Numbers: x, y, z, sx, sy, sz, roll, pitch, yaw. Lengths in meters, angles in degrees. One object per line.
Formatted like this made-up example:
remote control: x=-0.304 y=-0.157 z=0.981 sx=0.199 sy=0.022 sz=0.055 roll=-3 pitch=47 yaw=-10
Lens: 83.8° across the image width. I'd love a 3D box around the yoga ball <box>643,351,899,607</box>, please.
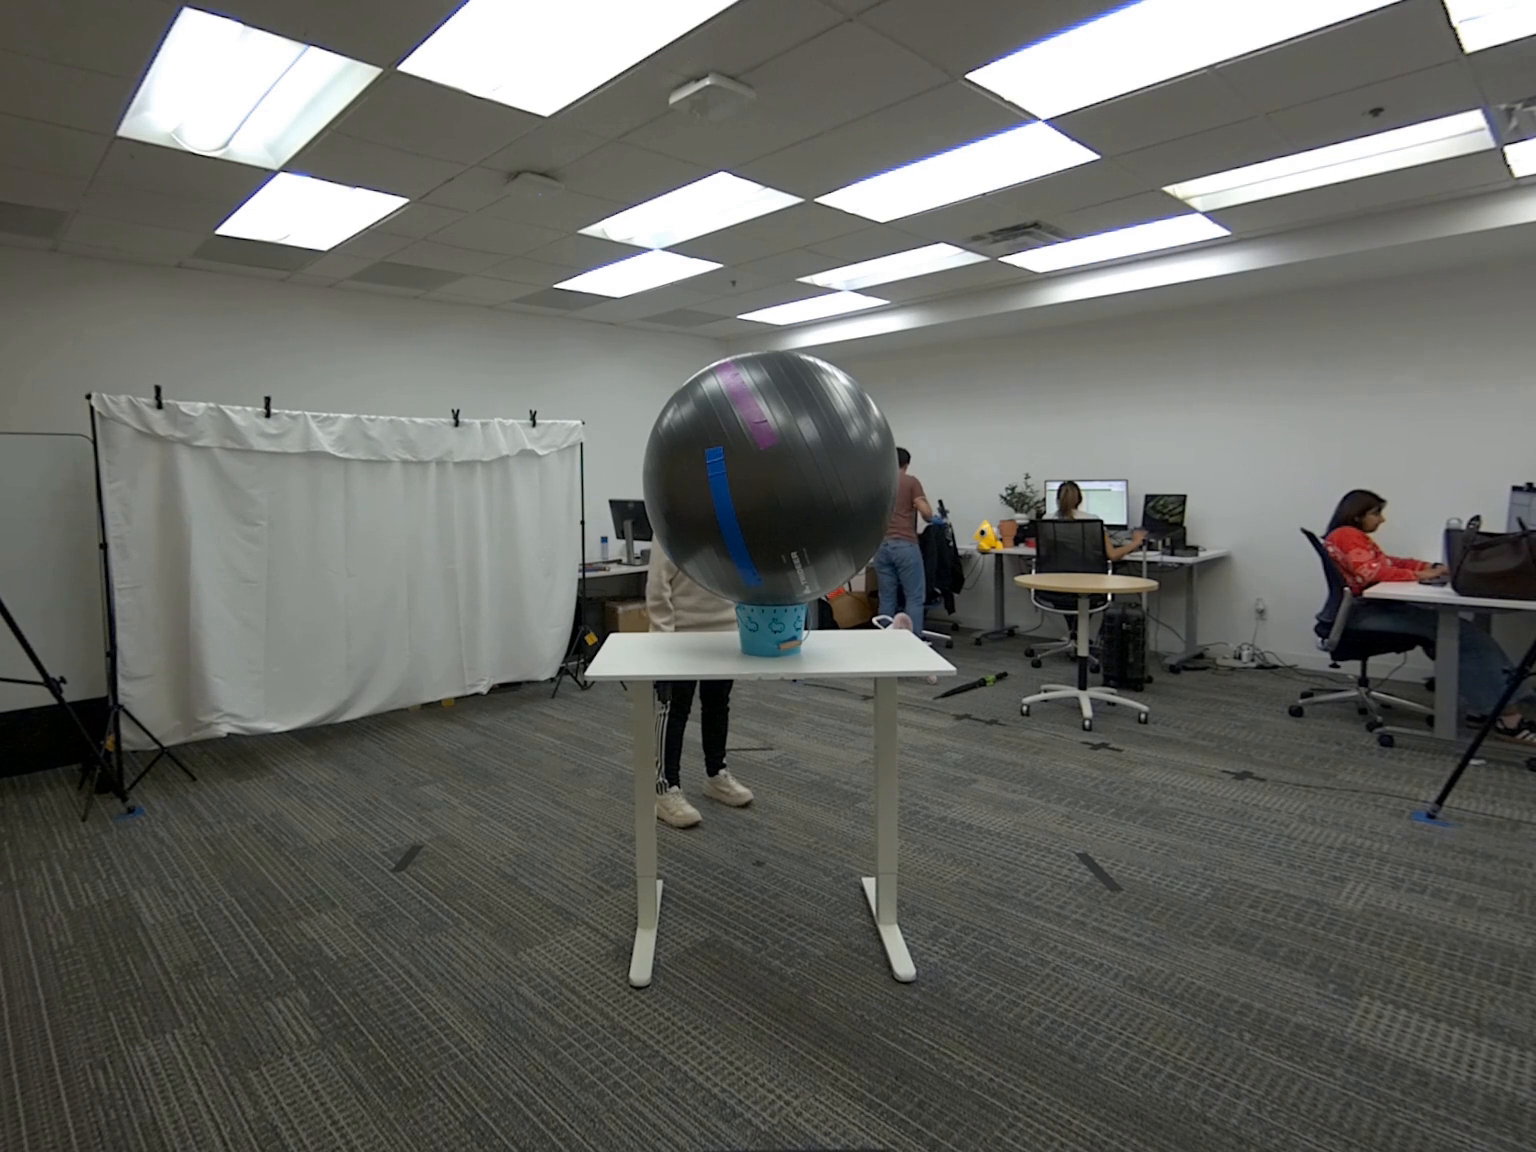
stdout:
yoga ball: x=0.007 y=-0.282 z=2.547 sx=0.757 sy=0.755 sz=0.762 roll=-1 pitch=5 yaw=-2
